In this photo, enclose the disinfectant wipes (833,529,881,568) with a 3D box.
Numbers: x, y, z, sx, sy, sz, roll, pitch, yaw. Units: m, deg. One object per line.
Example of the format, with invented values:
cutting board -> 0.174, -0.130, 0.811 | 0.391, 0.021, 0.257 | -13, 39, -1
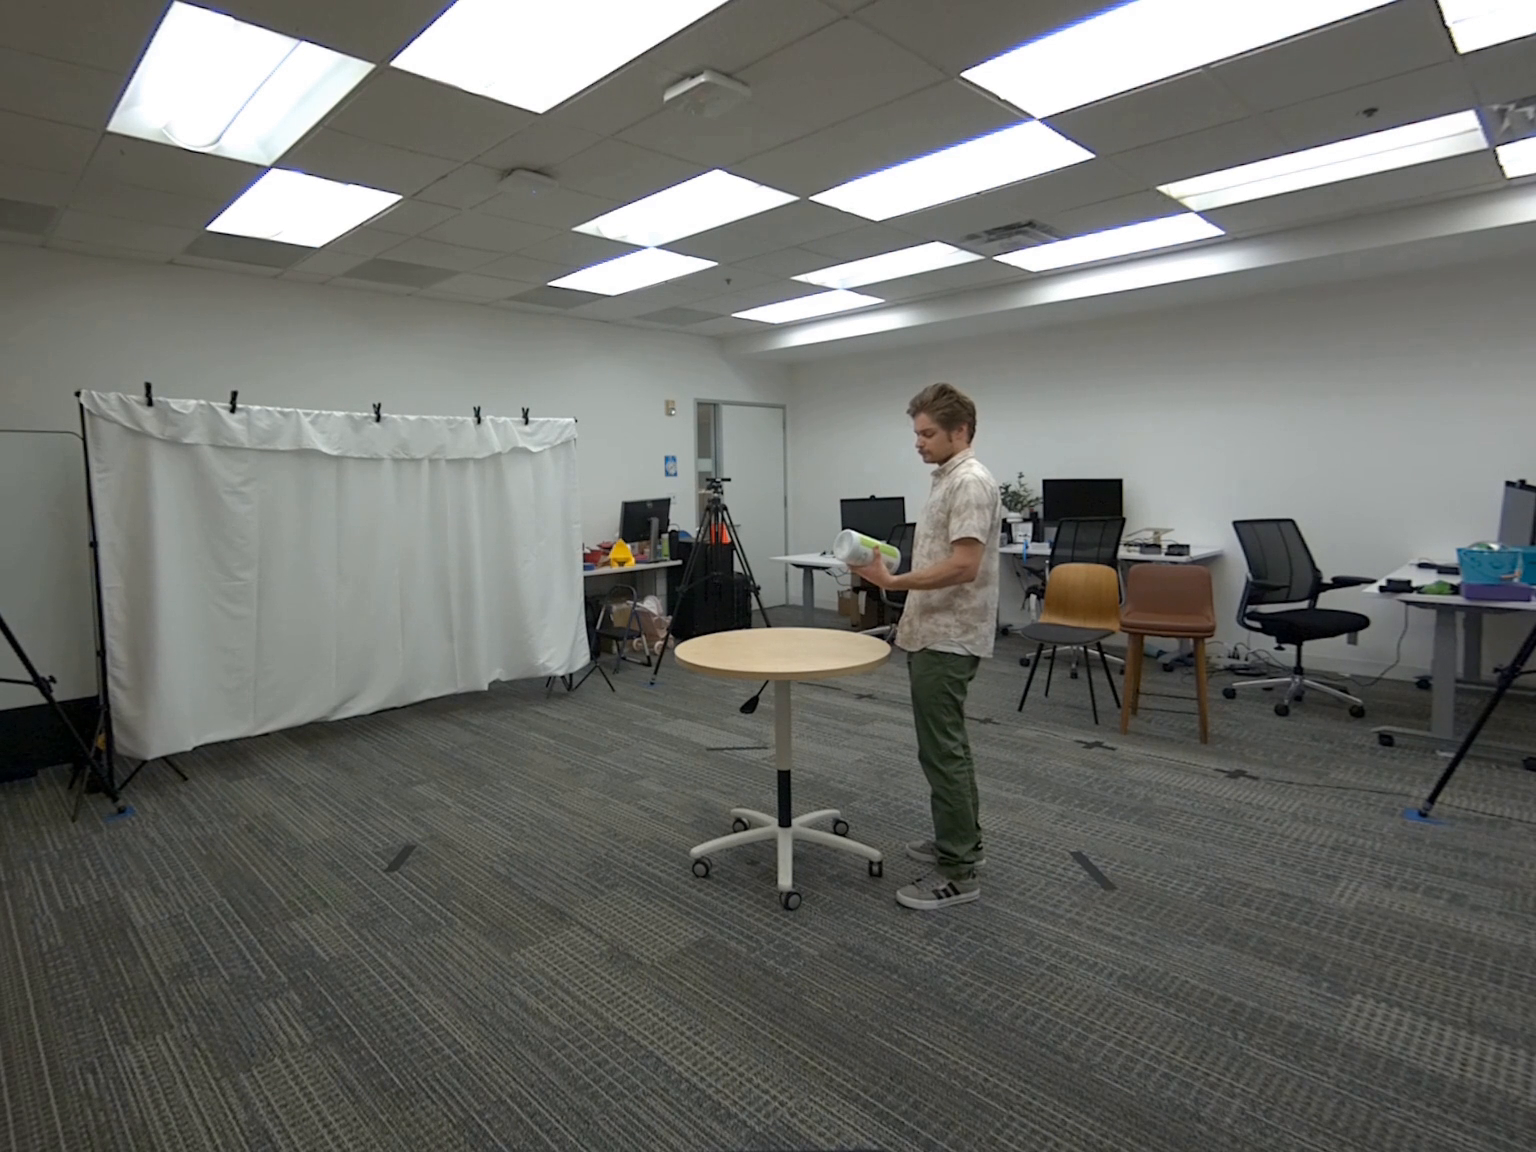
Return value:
disinfectant wipes -> 0.341, -0.079, 2.890 | 0.211, 0.118, 0.121 | 19, -5, -28
